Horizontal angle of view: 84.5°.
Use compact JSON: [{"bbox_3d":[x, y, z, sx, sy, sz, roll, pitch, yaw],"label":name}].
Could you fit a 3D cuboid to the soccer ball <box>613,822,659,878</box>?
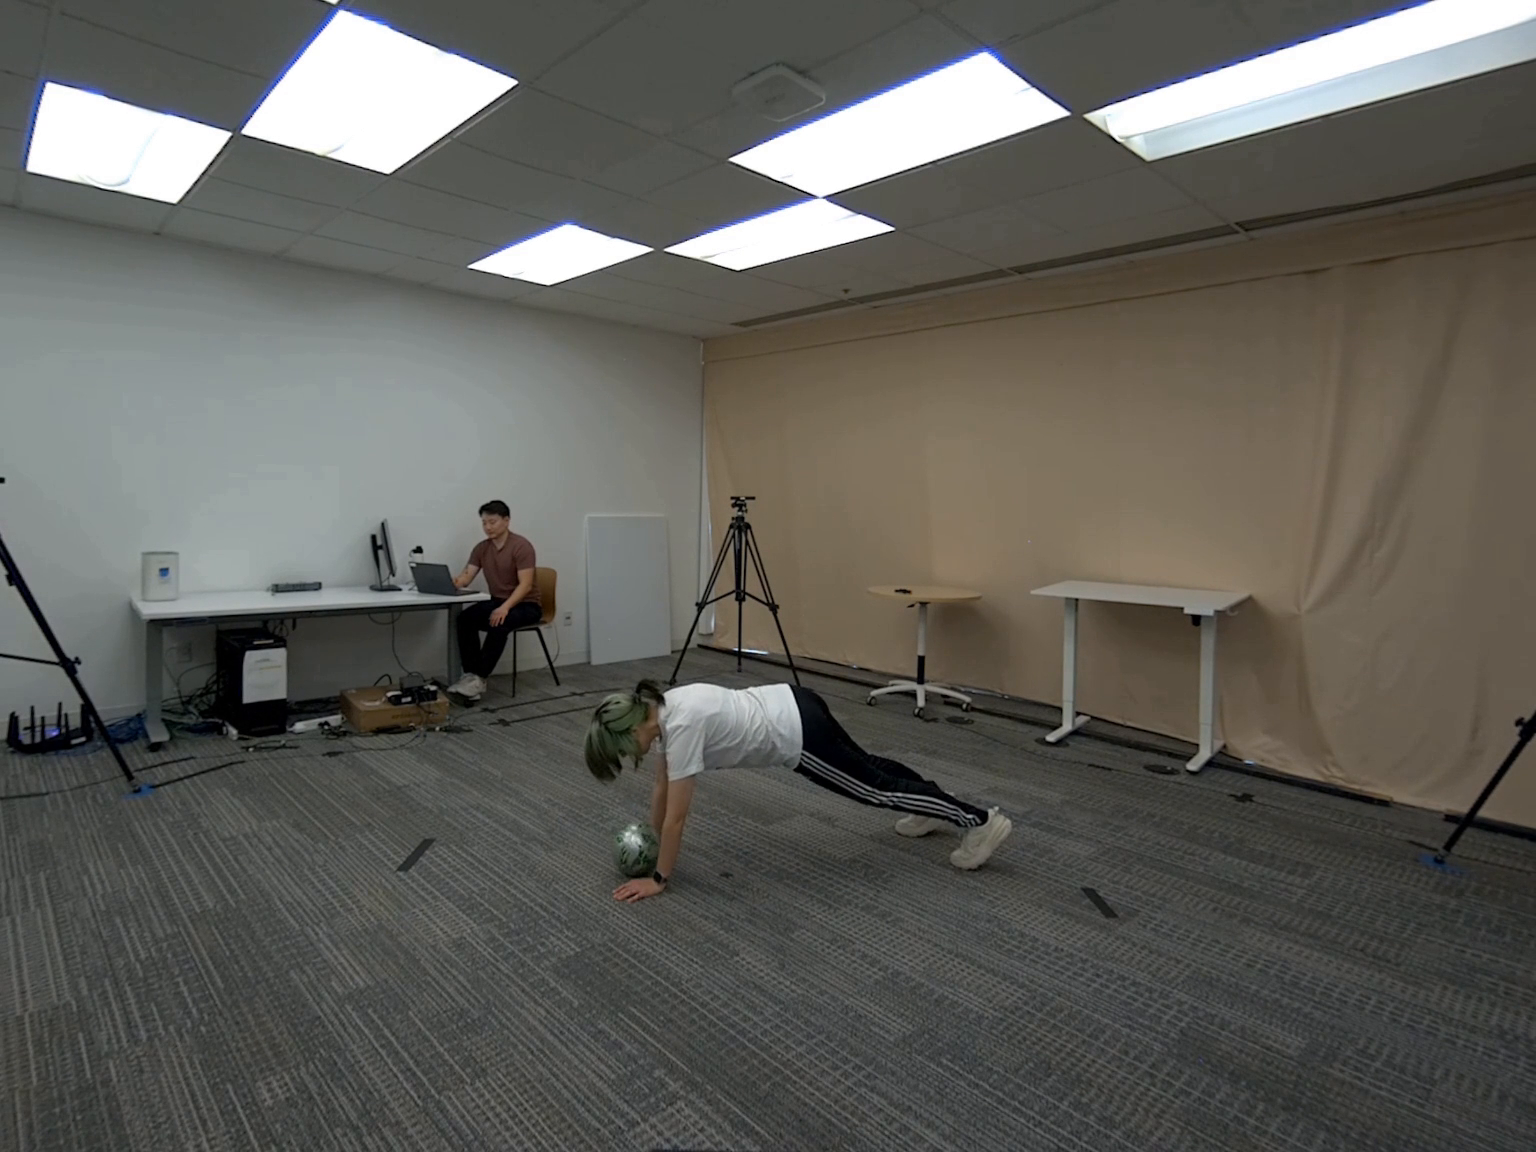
[{"bbox_3d":[-0.491,1.008,3.097,0.187,0.187,0.188,1,4,-1],"label":"soccer ball"}]
